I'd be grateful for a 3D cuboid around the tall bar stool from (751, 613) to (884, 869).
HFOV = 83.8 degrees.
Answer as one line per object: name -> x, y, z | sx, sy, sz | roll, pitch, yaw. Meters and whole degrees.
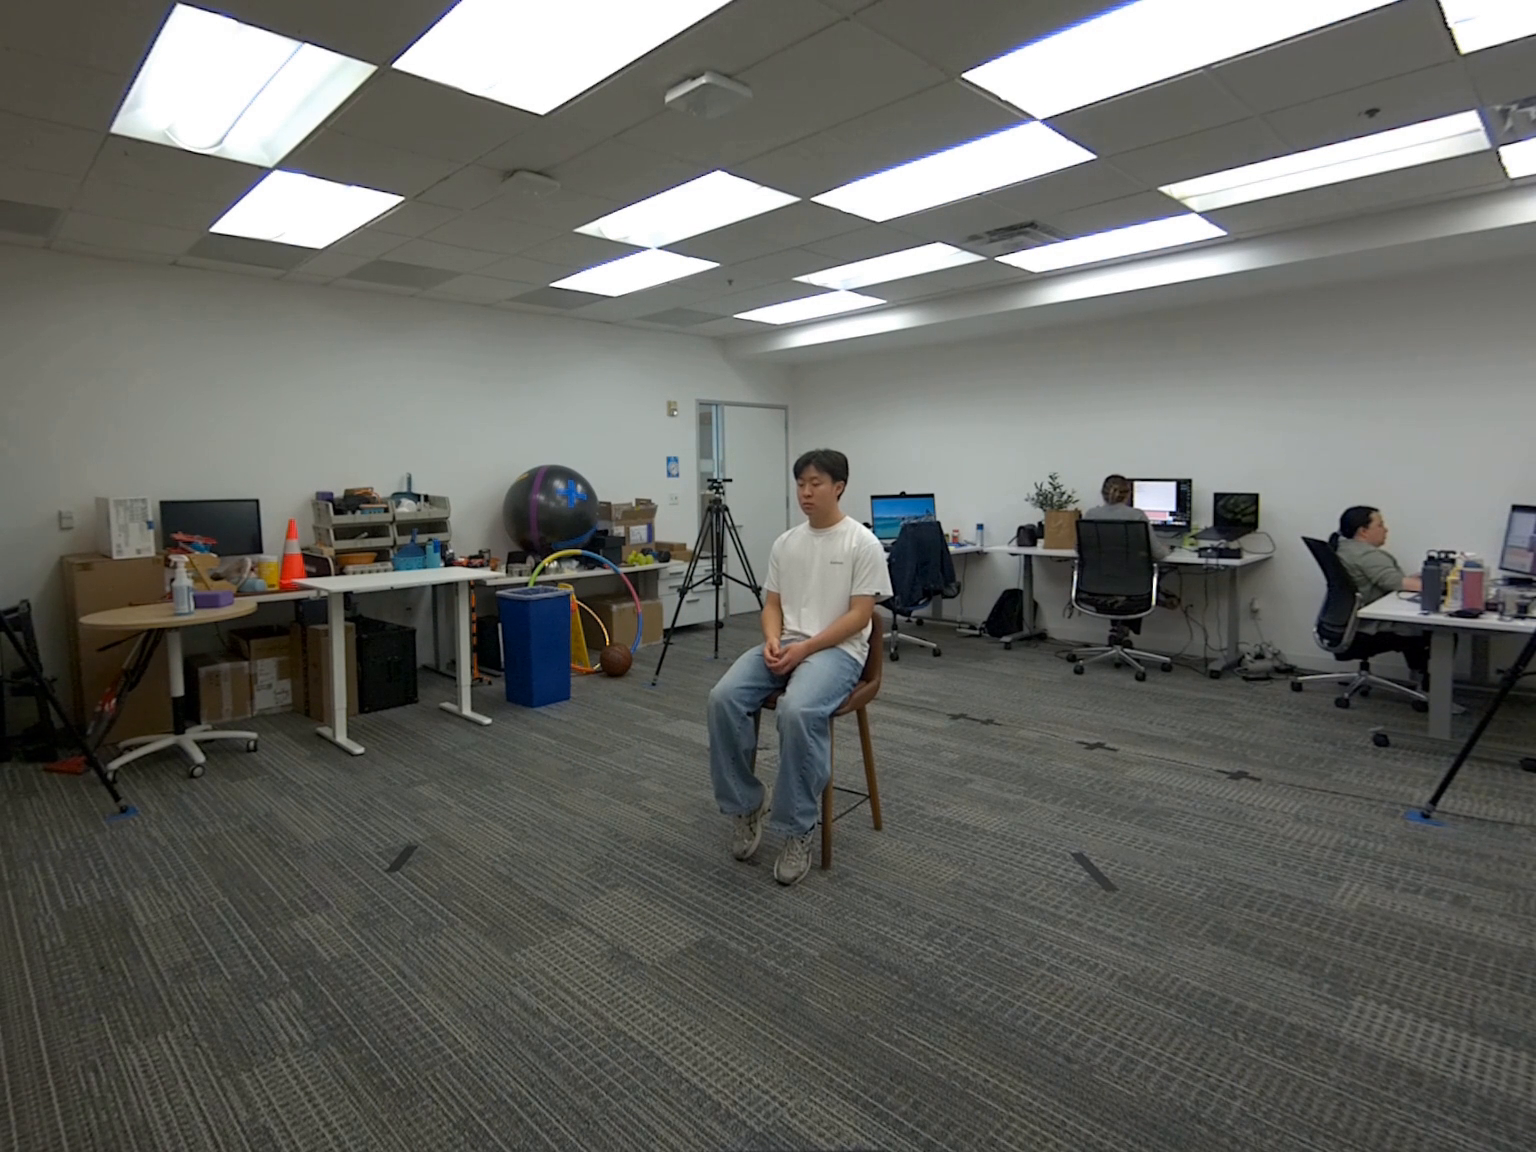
tall bar stool -> 0.187, 0.583, 3.324 | 0.470, 0.888, 0.455 | 4, 4, 36
